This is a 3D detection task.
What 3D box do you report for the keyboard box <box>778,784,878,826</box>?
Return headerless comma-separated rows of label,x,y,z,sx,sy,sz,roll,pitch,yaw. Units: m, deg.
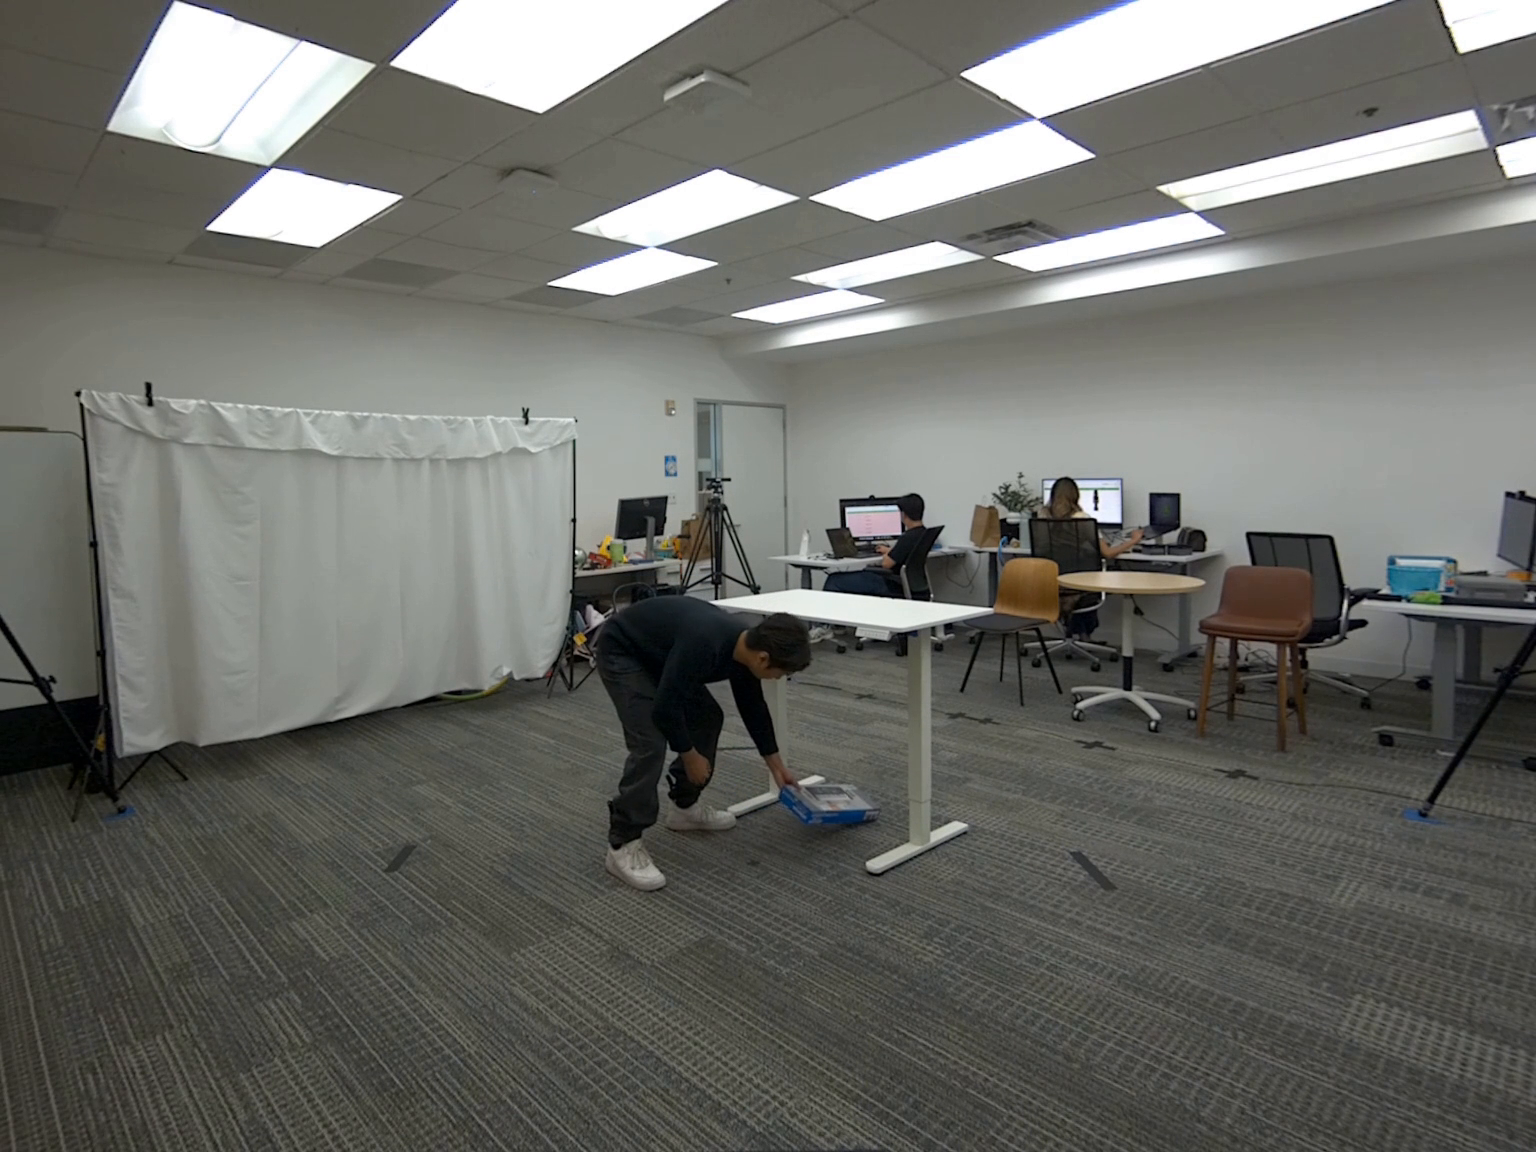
keyboard box,0.253,0.899,3.379,0.422,0.059,0.183,12,14,-43
